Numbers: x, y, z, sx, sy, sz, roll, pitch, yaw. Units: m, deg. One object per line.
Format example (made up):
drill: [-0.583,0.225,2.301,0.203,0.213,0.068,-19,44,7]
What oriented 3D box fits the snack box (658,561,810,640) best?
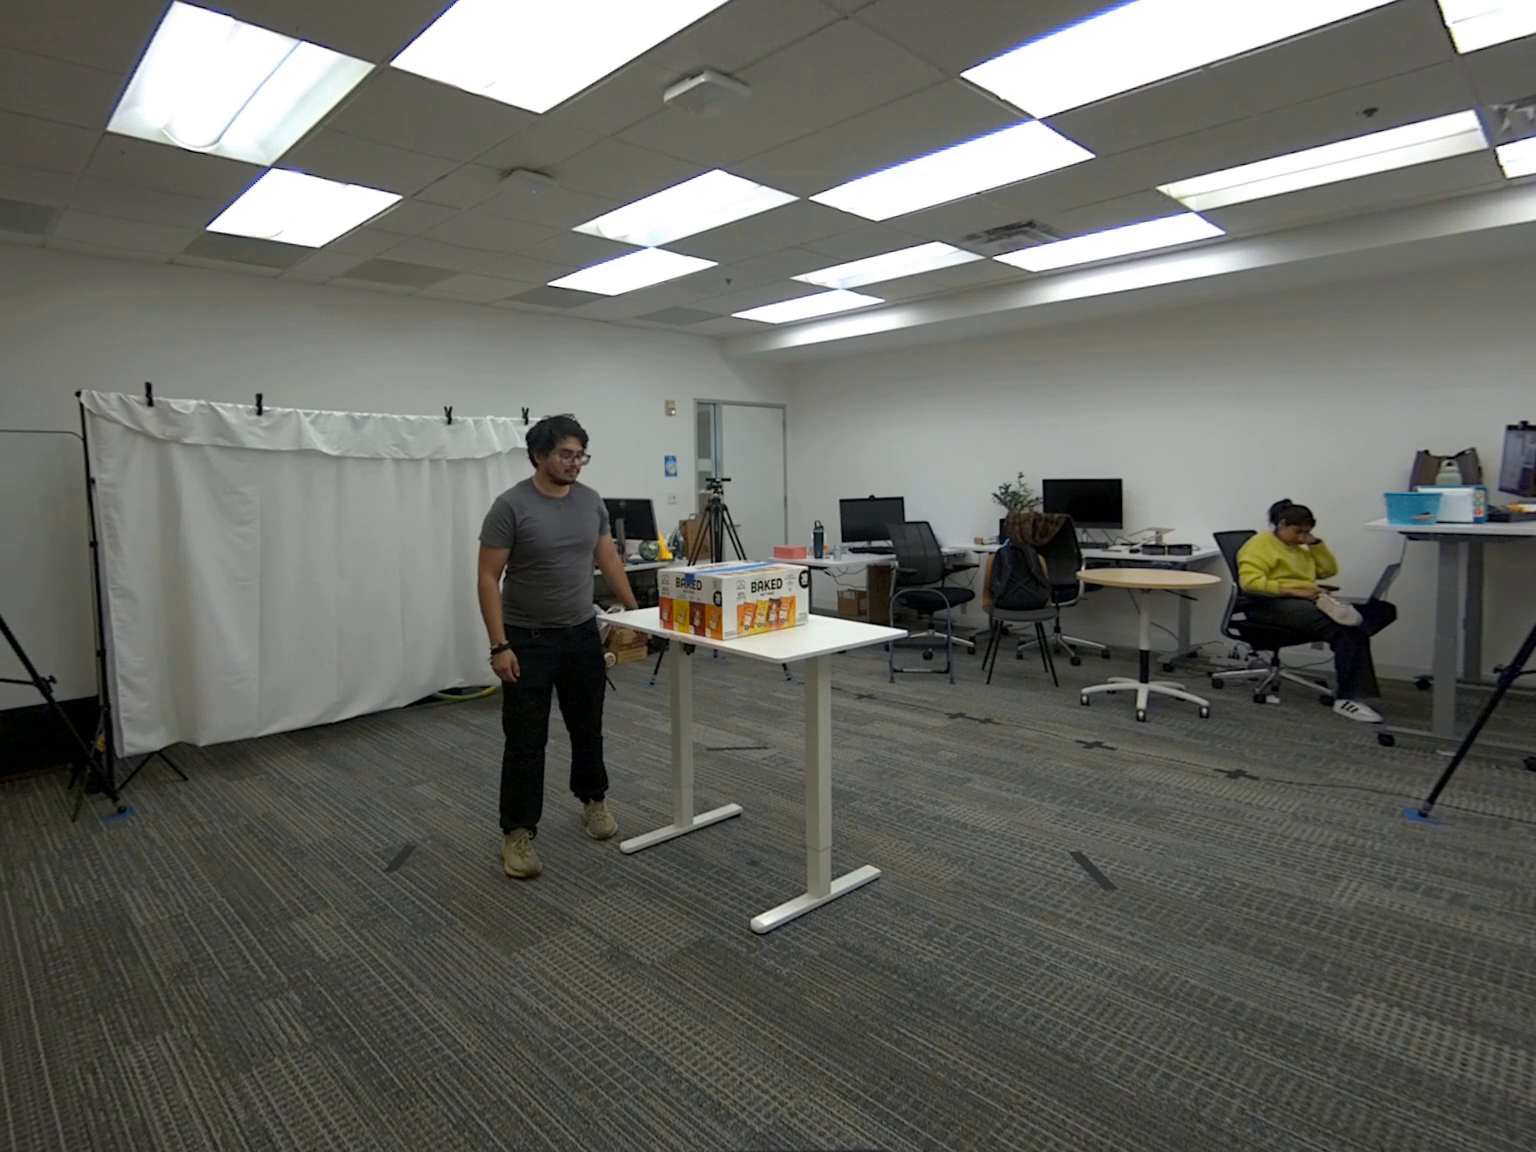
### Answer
snack box: [-0.119,0.073,2.974,0.394,0.205,0.351,-7,9,-43]
